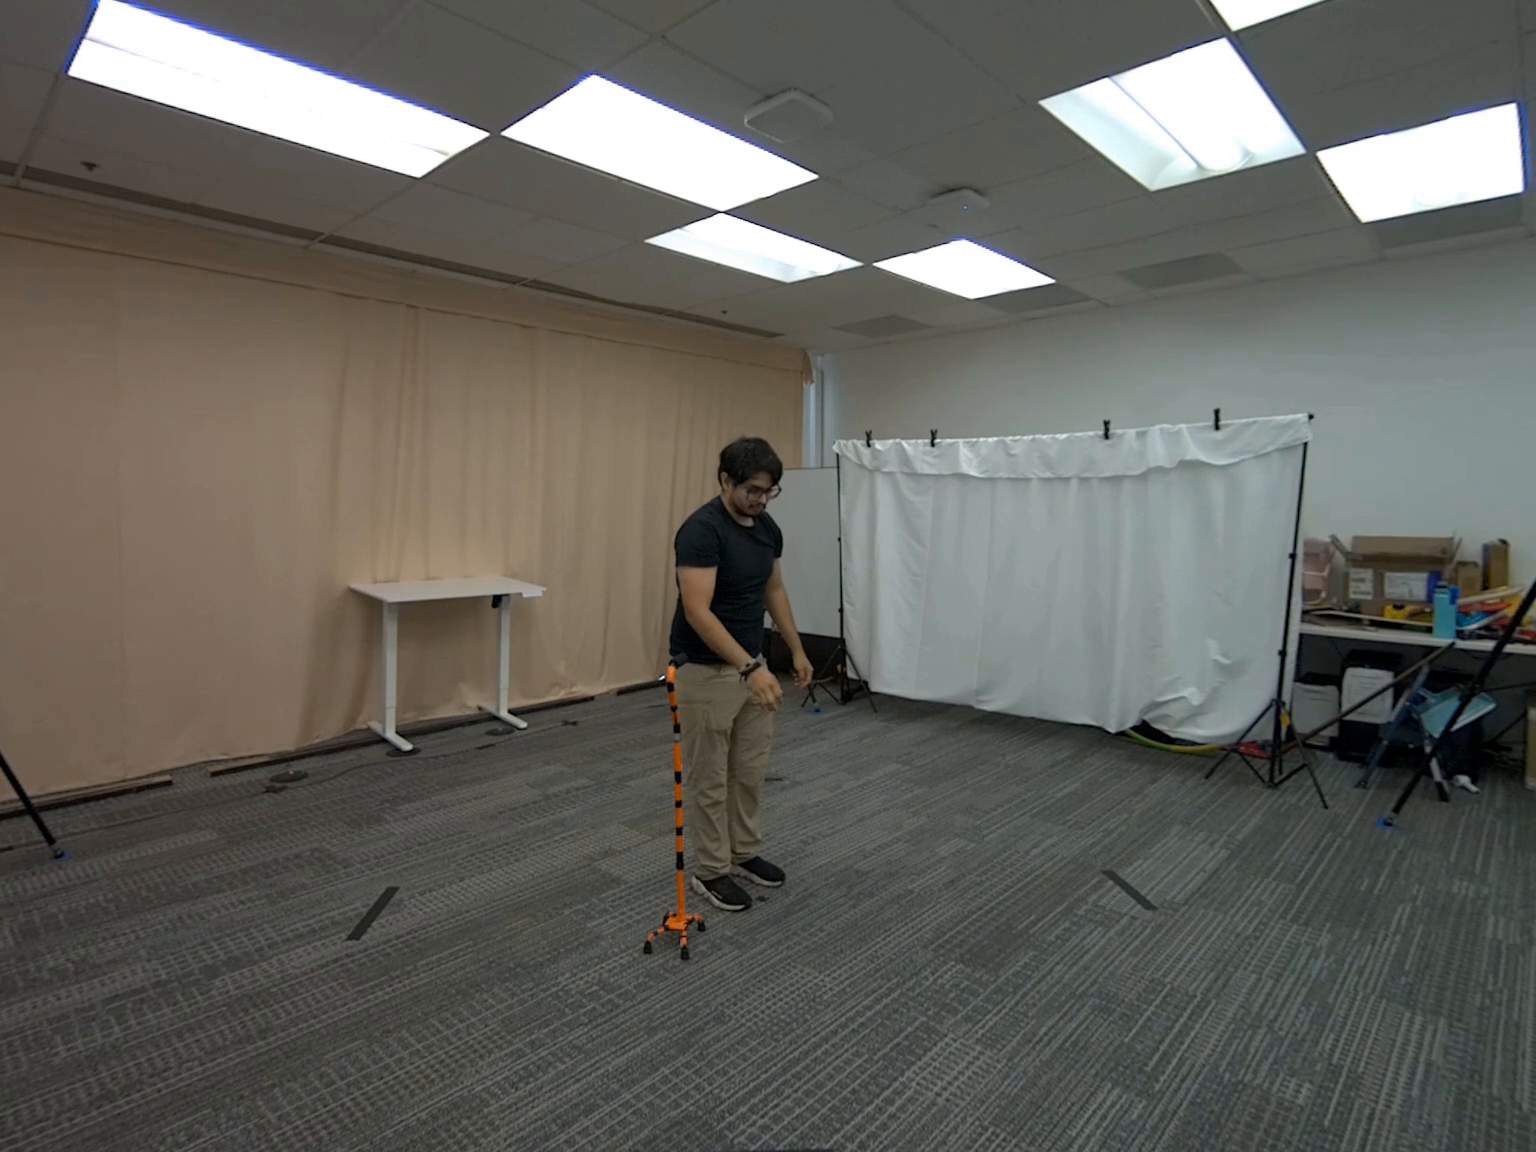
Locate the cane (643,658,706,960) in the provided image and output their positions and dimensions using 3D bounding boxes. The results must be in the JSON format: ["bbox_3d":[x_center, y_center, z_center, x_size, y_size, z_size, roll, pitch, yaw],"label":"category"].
[{"bbox_3d":[-0.300,0.715,2.672,0.154,0.906,0.204,1,3,12],"label":"cane"}]
